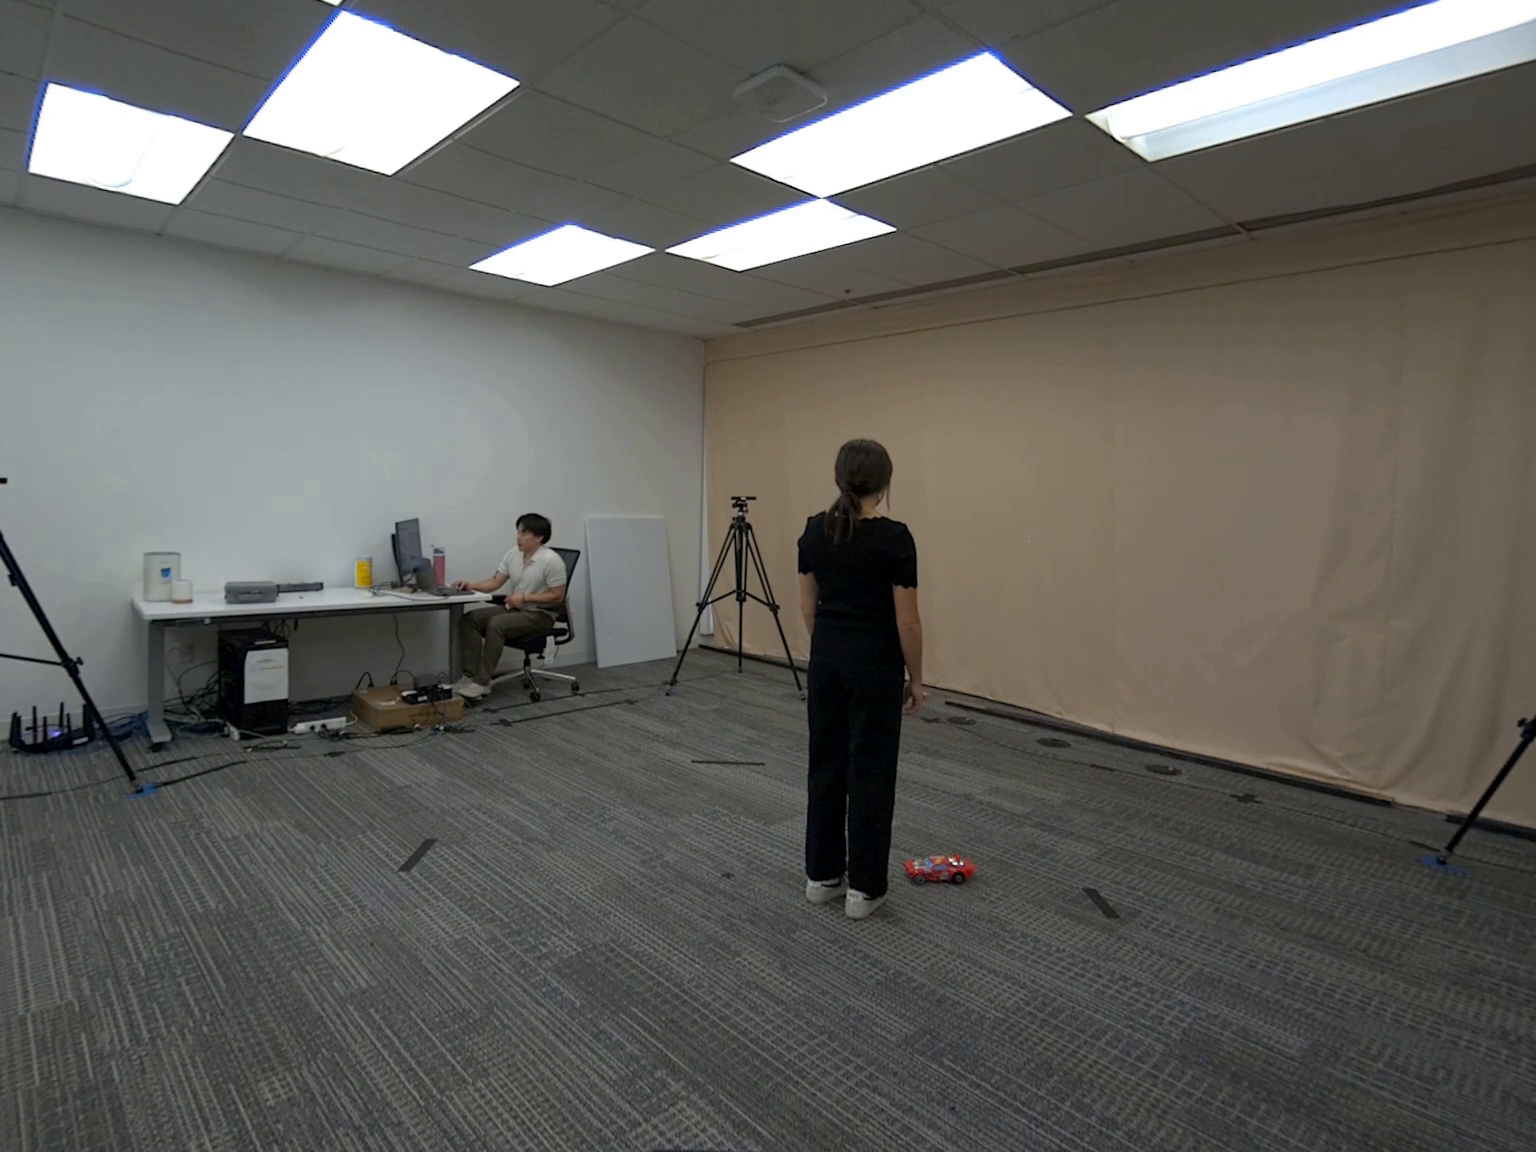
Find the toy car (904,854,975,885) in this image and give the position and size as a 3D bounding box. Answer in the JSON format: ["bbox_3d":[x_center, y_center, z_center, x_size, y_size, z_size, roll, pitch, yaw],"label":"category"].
[{"bbox_3d":[0.638,1.092,3.127,0.254,0.083,0.131,-10,6,-3],"label":"toy car"}]
